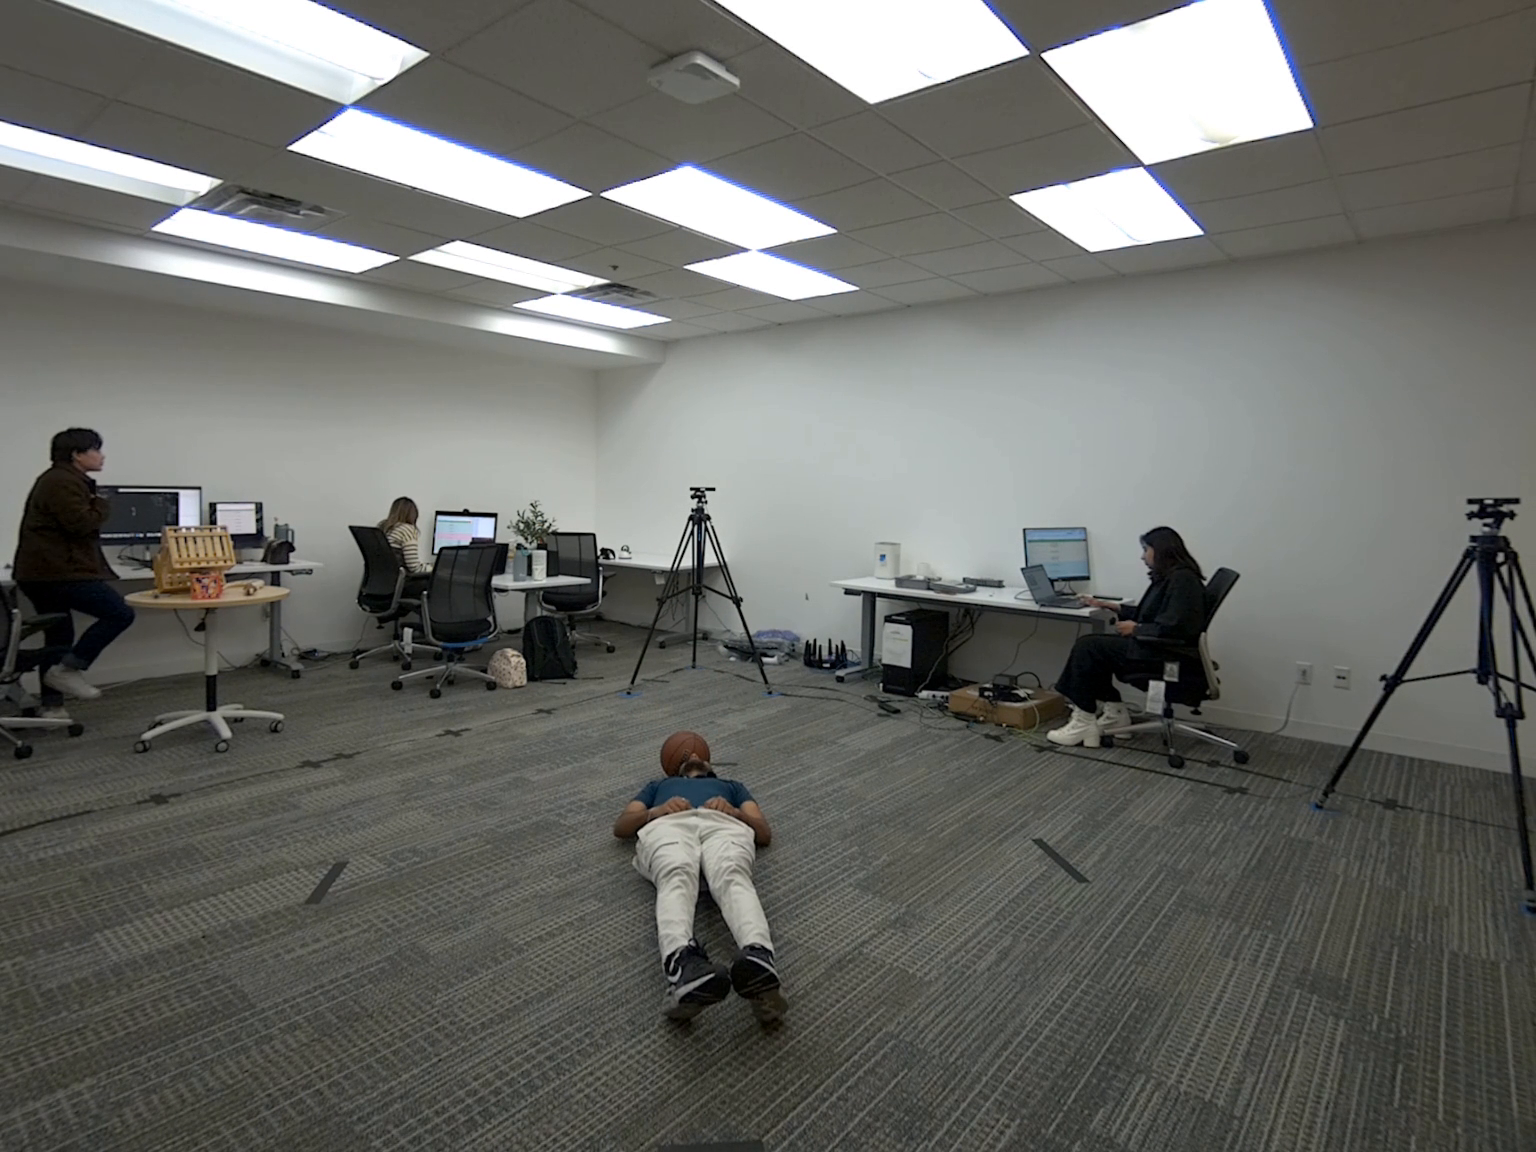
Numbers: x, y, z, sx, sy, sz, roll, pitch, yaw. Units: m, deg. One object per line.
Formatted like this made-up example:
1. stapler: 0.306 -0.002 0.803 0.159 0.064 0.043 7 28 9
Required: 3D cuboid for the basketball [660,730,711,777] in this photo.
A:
1. basketball: -0.405 0.852 4.037 0.235 0.235 0.237 1 4 -2
